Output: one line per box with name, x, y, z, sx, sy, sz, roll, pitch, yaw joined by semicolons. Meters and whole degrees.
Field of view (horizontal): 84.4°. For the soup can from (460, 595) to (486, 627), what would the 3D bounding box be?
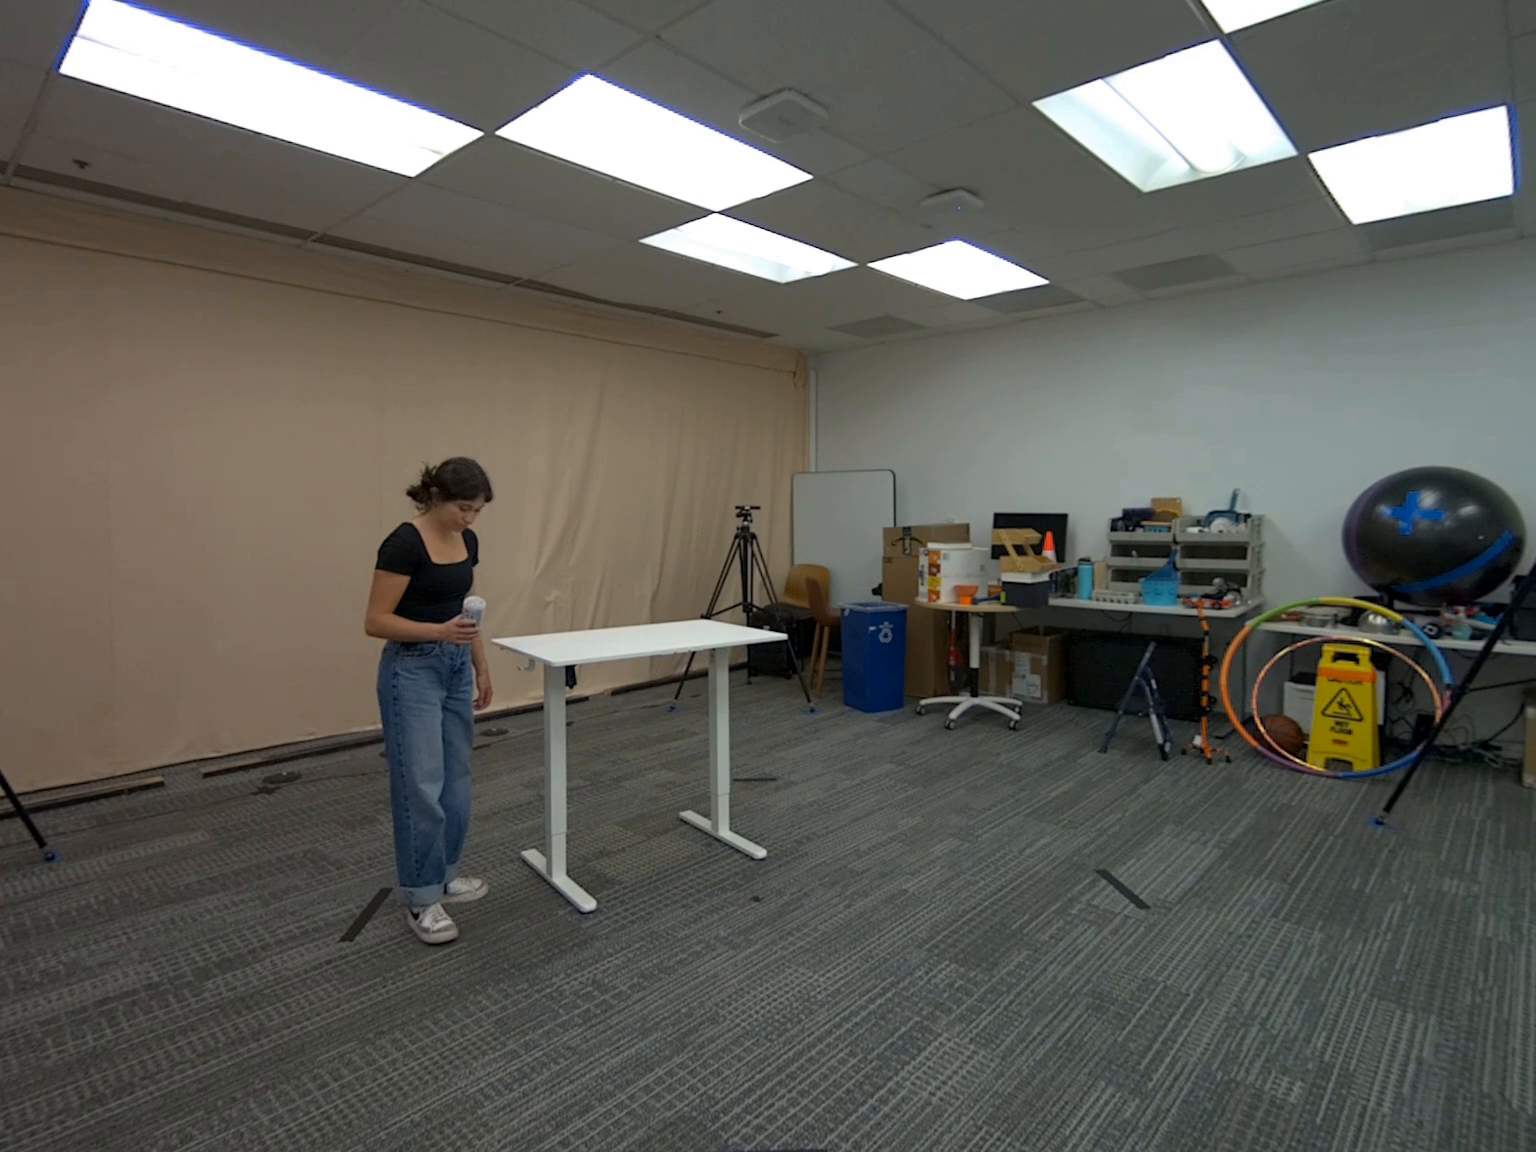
soup can;-0.933;0.130;2.631;0.066;0.121;0.068;14;28;-10
